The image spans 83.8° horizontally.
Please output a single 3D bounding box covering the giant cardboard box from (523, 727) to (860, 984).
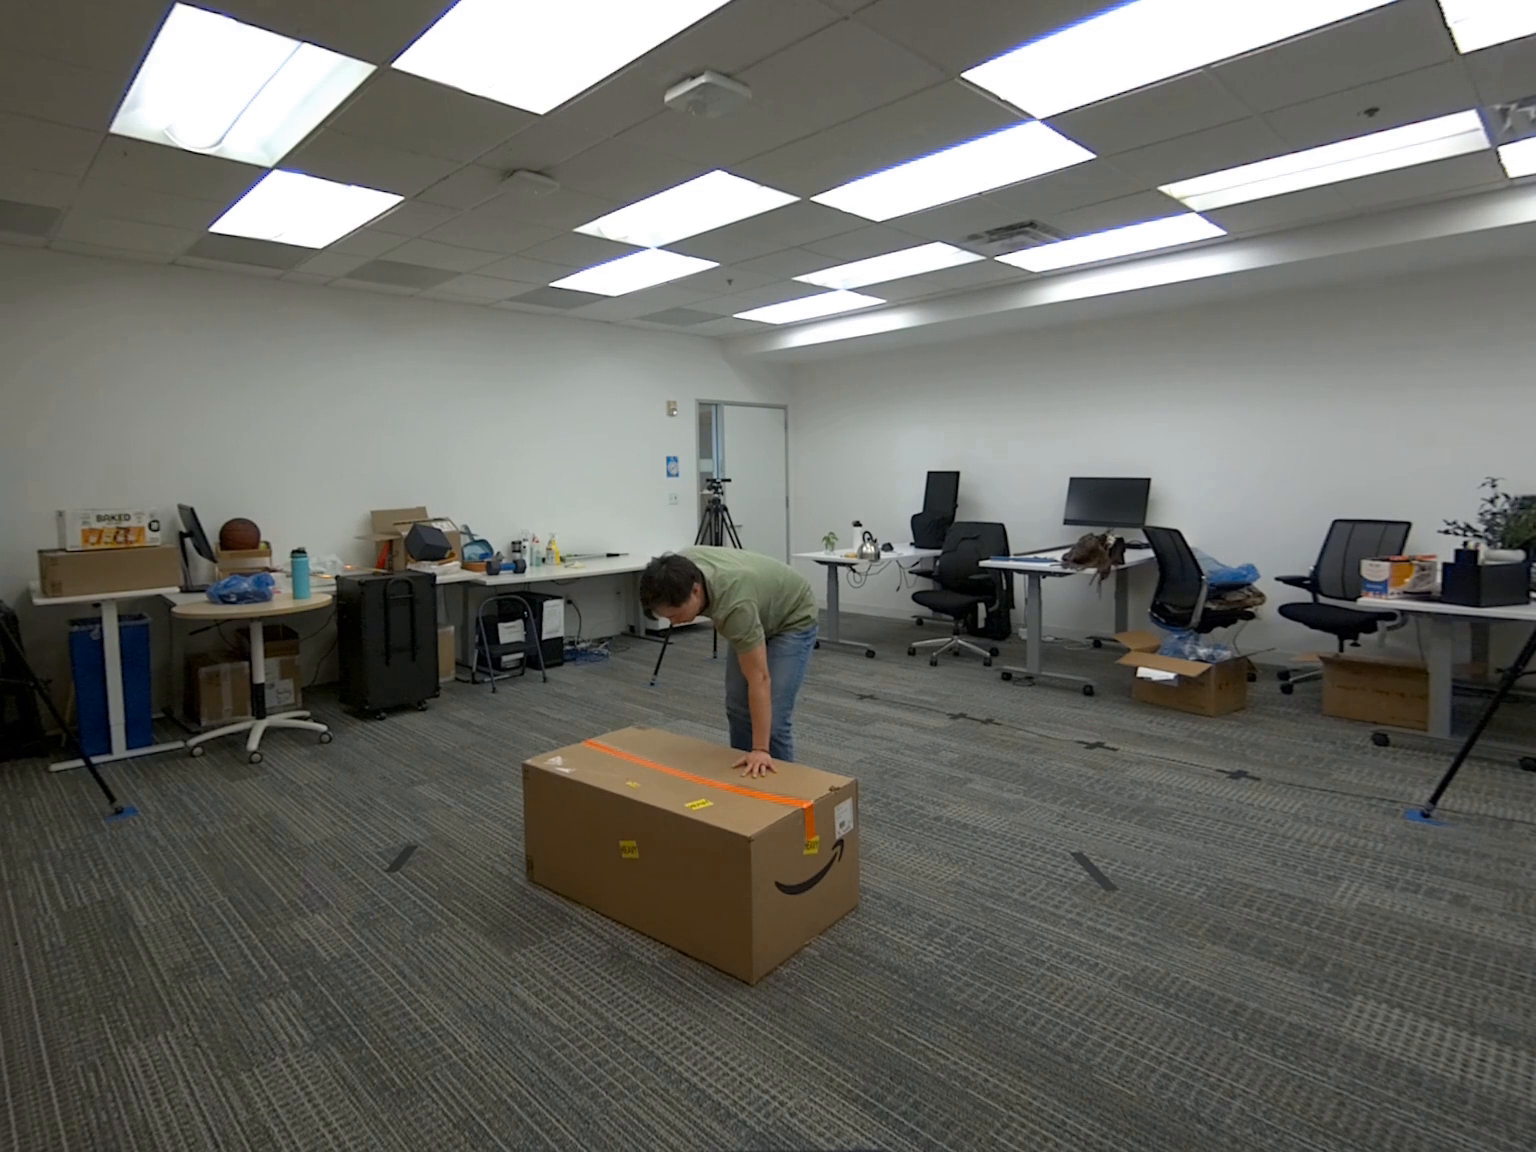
[{"bbox_3d":[-0.280,0.863,2.888,1.057,0.424,0.563,4,8,39],"label":"giant cardboard box"}]
